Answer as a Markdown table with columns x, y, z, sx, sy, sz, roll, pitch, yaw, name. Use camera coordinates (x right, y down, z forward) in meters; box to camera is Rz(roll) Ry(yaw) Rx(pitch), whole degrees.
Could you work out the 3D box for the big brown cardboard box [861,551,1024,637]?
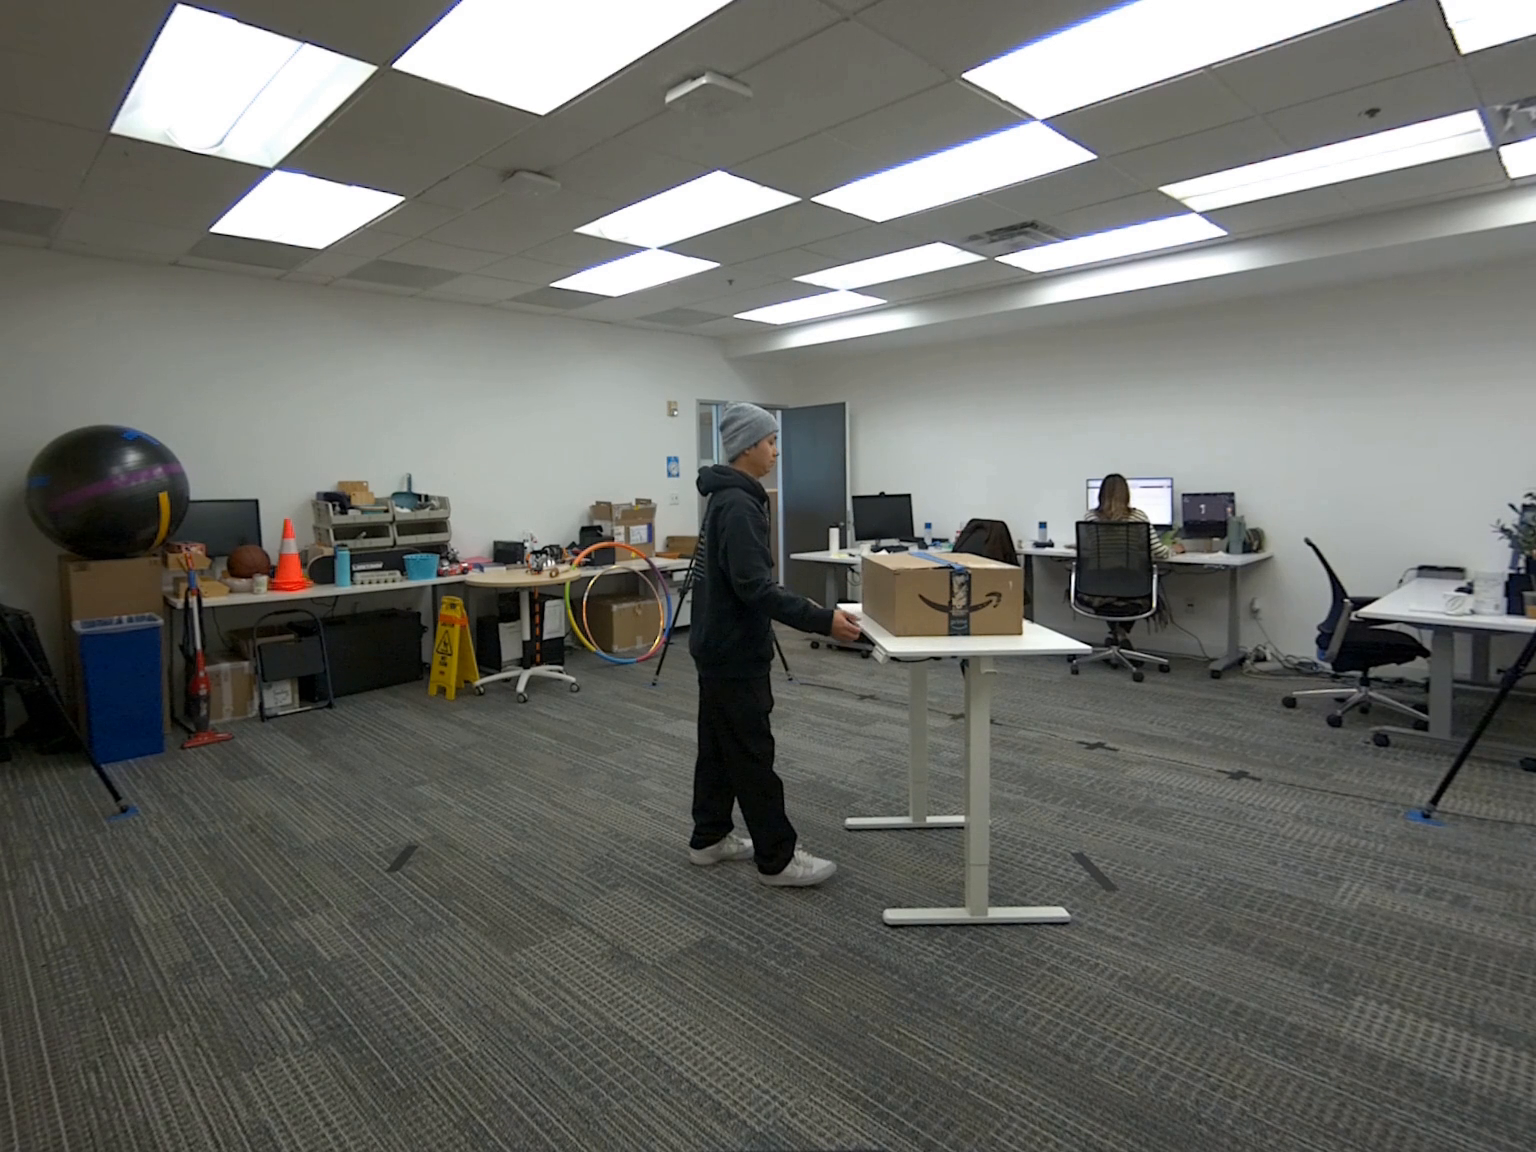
| x | y | z | sx | sy | sz | roll | pitch | yaw | name |
| --- | --- | --- | --- | --- | --- | --- | --- | --- | --- |
| 0.576 | 0.056 | 2.990 | 0.416 | 0.232 | 0.593 | -1 | 5 | -4 | big brown cardboard box |
